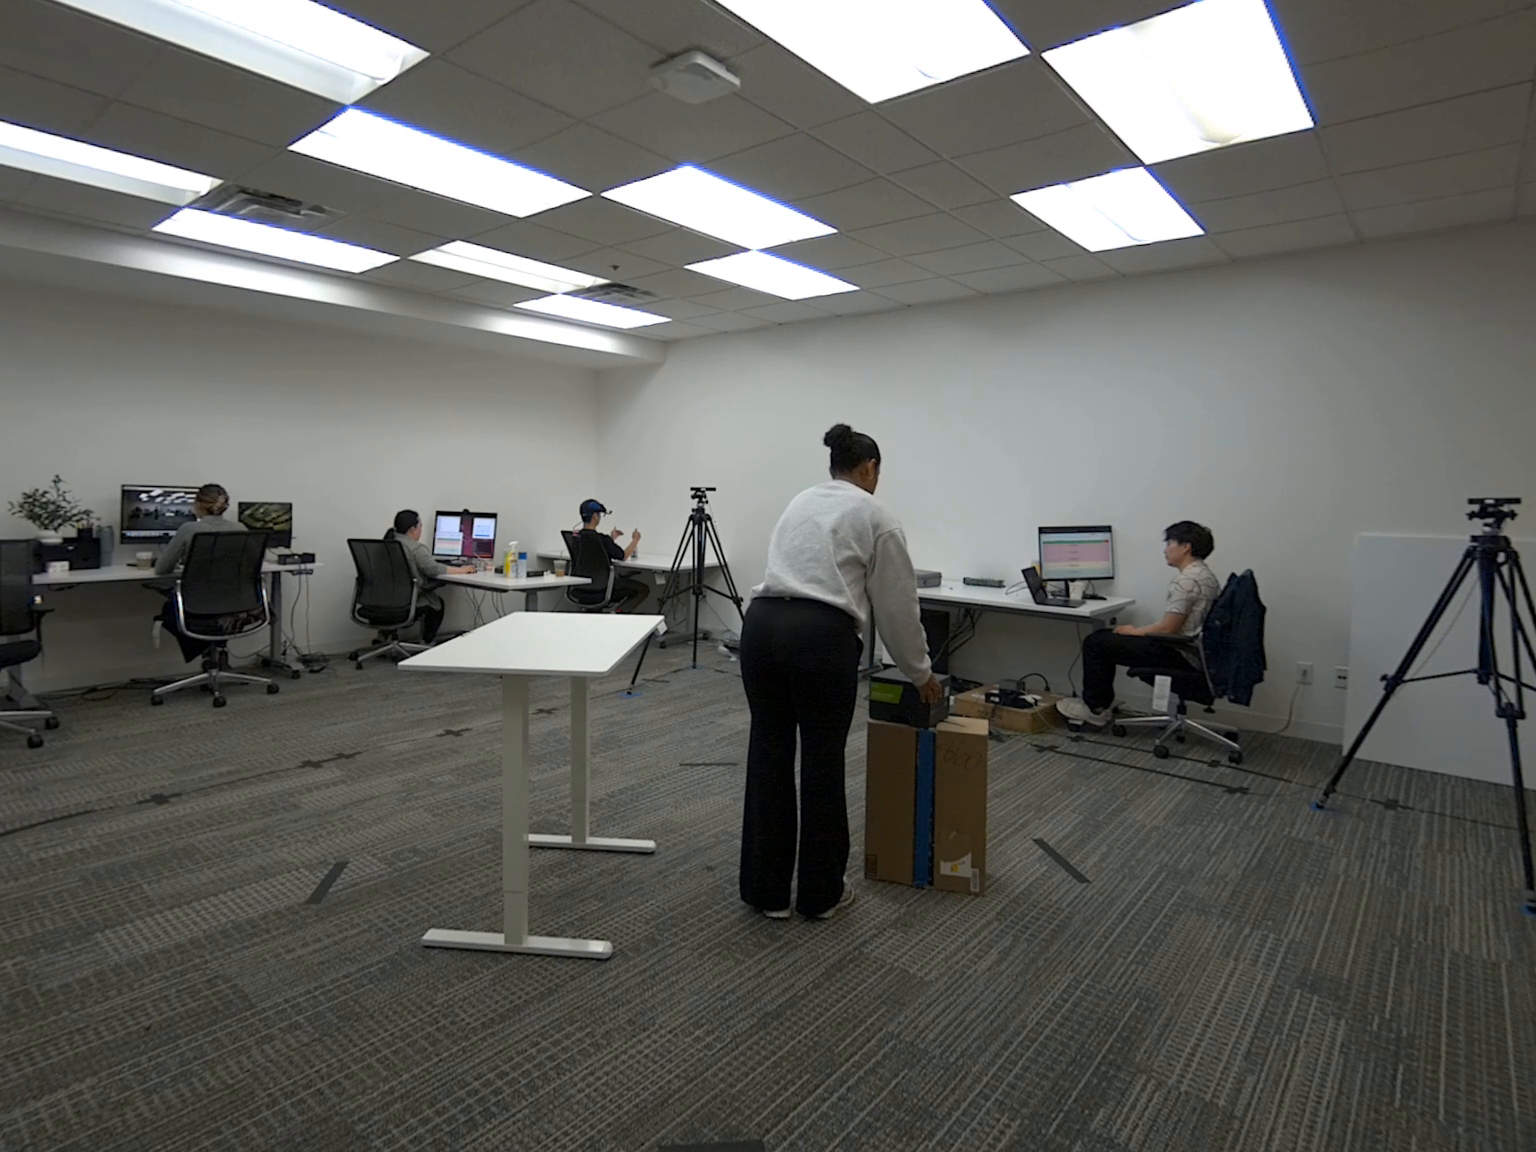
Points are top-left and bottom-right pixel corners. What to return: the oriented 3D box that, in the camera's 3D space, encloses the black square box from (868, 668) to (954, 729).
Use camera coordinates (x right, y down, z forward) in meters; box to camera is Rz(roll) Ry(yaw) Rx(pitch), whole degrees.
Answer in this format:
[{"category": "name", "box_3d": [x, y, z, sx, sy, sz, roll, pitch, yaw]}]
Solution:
[{"category": "black square box", "box_3d": [0.510, 0.439, 3.106, 0.235, 0.155, 0.211, 4, 5, 31]}]
